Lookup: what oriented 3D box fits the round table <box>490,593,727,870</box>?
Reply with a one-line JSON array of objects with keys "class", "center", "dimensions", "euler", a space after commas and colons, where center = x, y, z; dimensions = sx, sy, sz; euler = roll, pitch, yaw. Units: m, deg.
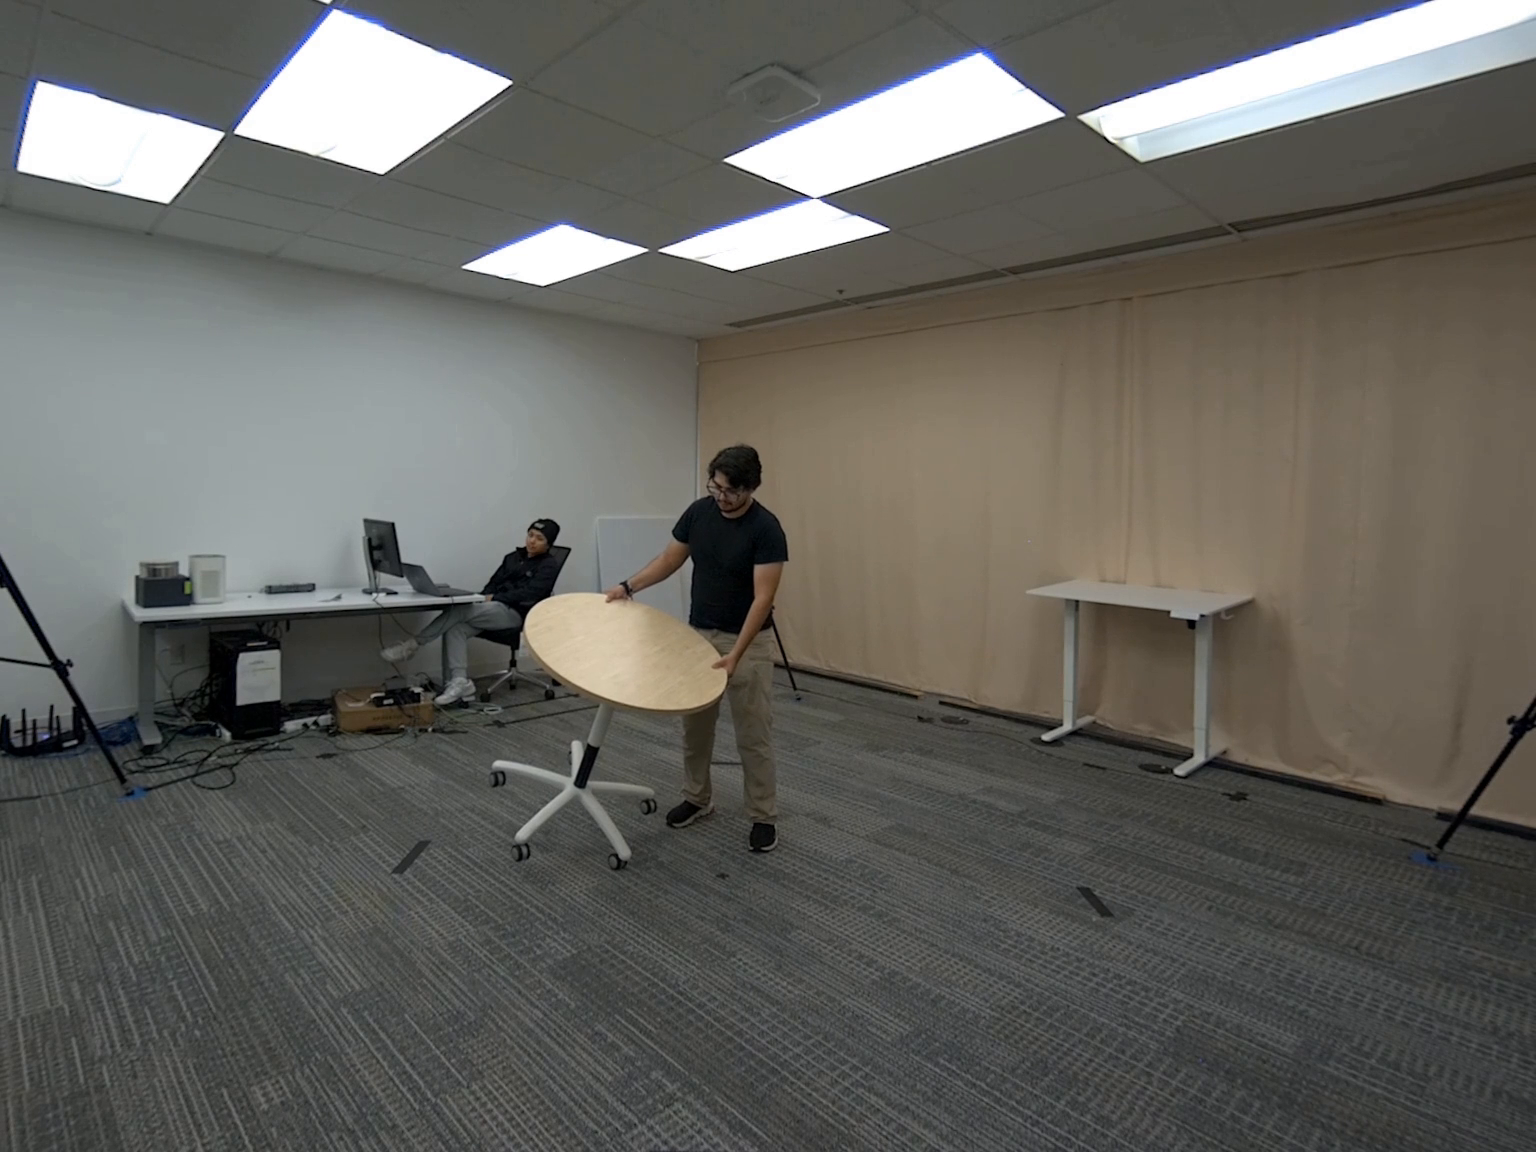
[{"class": "round table", "center": [-0.670, 0.594, 3.211], "dimensions": [0.779, 0.780, 0.797], "euler": [19, 19, -8]}]
